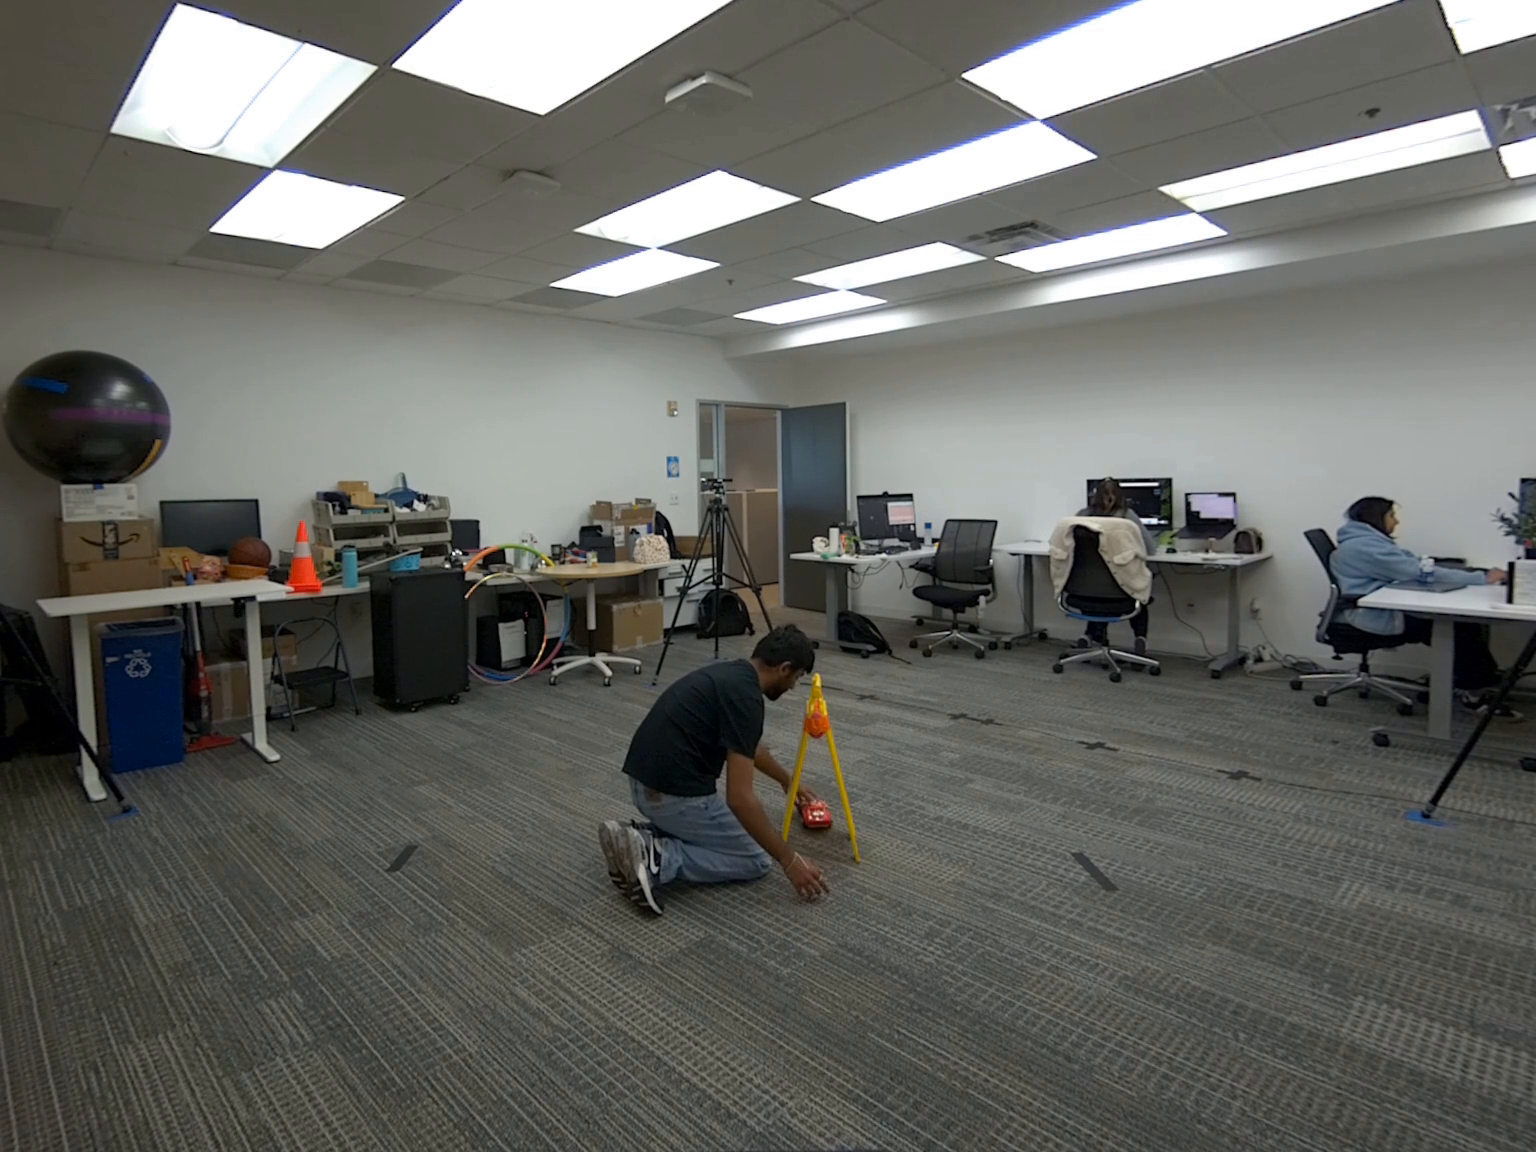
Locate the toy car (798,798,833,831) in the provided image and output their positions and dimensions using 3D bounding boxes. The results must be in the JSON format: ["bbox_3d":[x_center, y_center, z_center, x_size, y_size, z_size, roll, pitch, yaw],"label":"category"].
[{"bbox_3d":[0.187,0.968,3.461,0.130,0.084,0.253,-1,-5,-2],"label":"toy car"}]
